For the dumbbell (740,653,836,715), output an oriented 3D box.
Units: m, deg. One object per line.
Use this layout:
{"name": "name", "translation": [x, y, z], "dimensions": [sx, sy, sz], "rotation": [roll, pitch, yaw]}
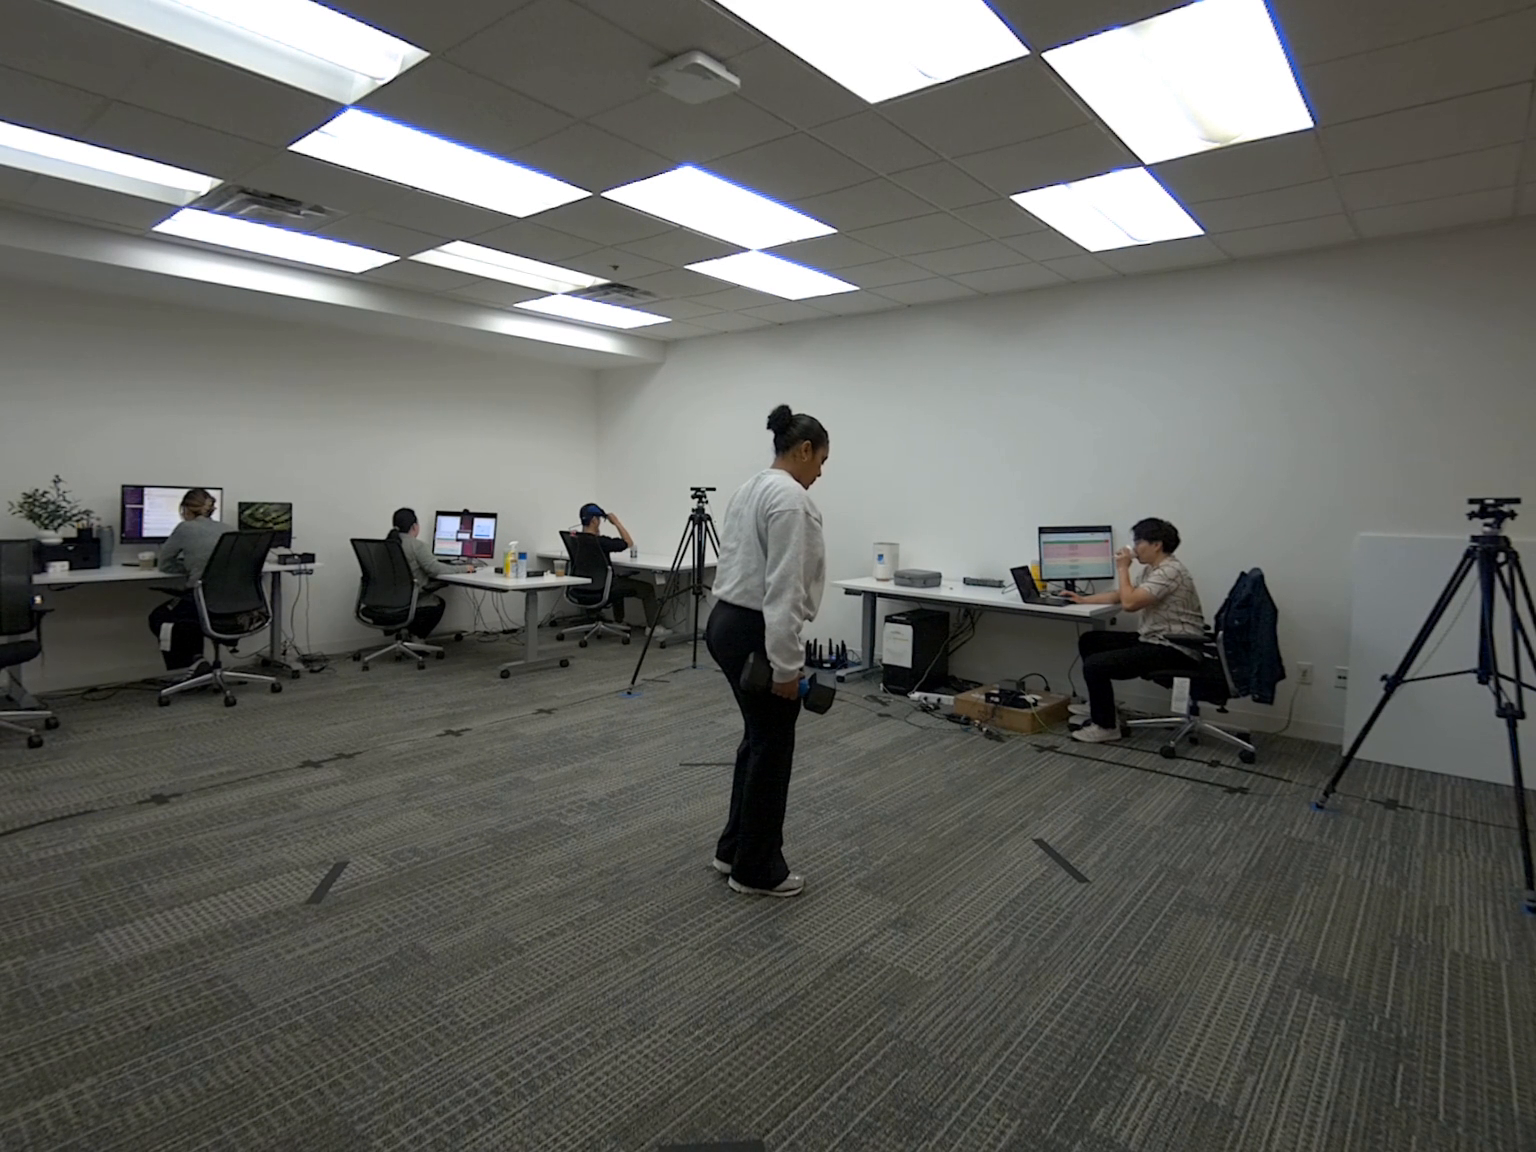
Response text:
{"name": "dumbbell", "translation": [0.053, 0.341, 2.696], "dimensions": [0.292, 0.123, 0.109], "rotation": [18, -5, -3]}
